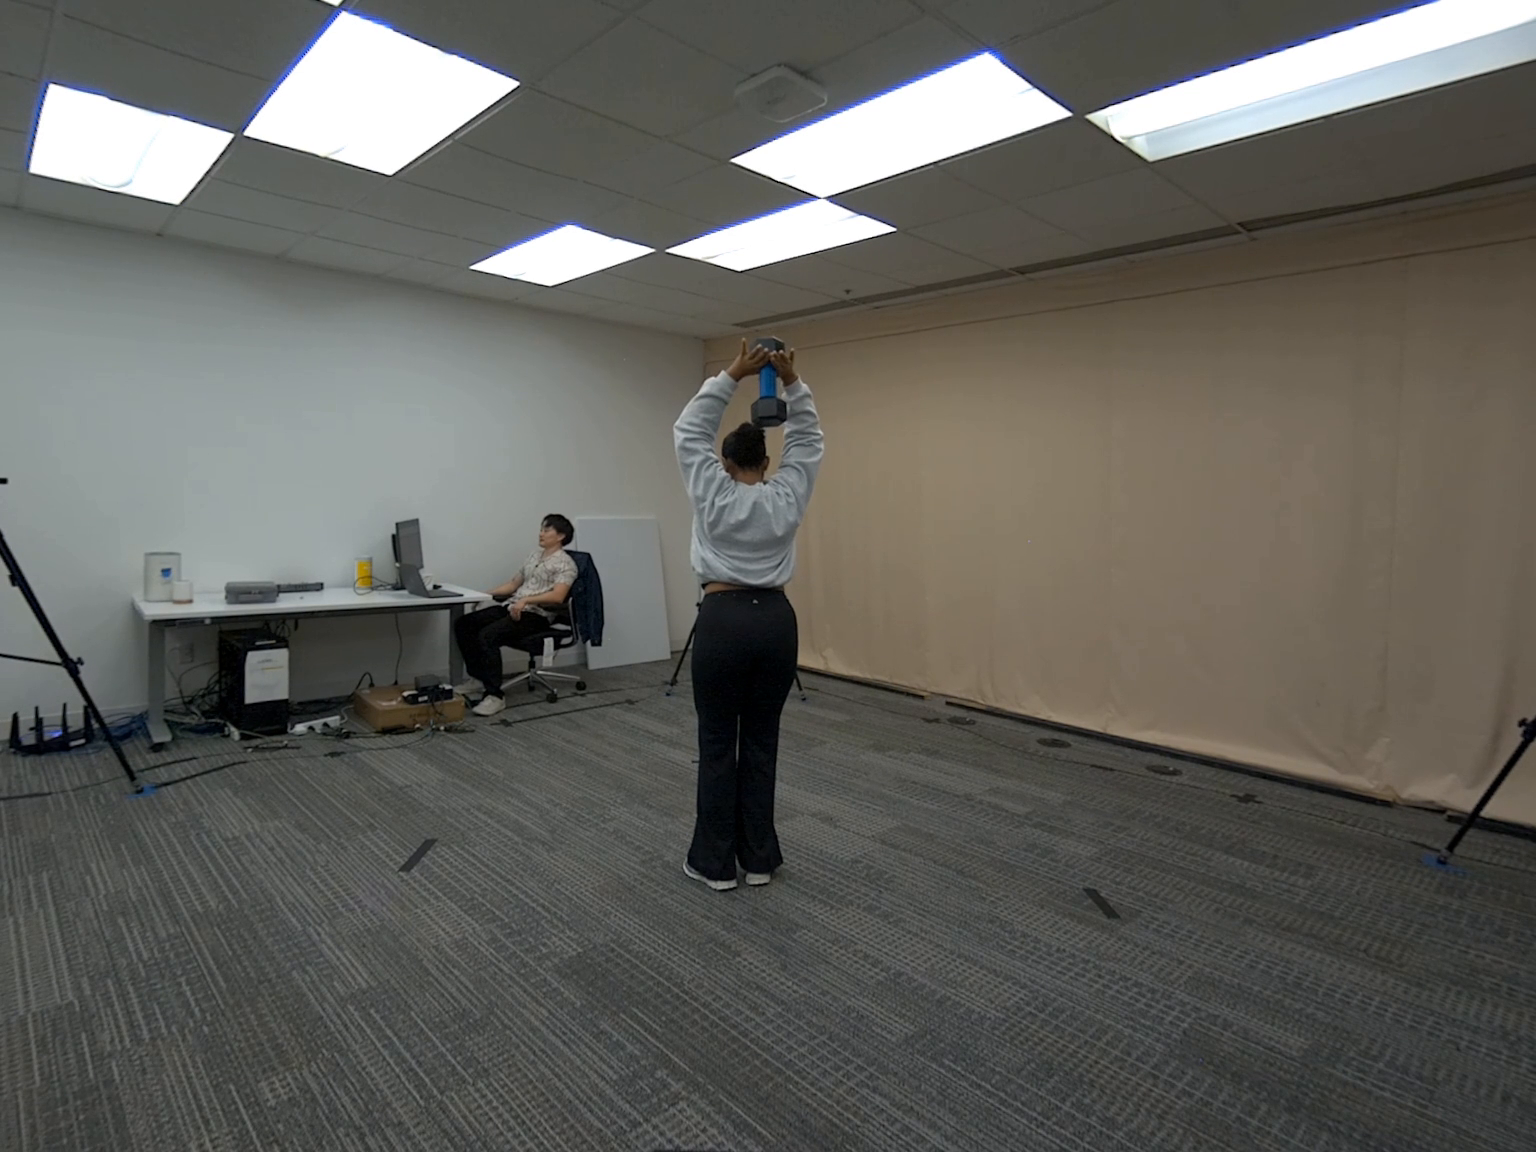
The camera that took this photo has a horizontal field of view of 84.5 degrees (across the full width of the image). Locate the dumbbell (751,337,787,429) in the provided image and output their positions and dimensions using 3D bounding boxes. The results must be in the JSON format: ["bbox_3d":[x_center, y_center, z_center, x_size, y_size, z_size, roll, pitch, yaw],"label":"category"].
[{"bbox_3d":[-0.014,-0.659,2.863,0.111,0.296,0.120,-10,-12,38],"label":"dumbbell"}]
